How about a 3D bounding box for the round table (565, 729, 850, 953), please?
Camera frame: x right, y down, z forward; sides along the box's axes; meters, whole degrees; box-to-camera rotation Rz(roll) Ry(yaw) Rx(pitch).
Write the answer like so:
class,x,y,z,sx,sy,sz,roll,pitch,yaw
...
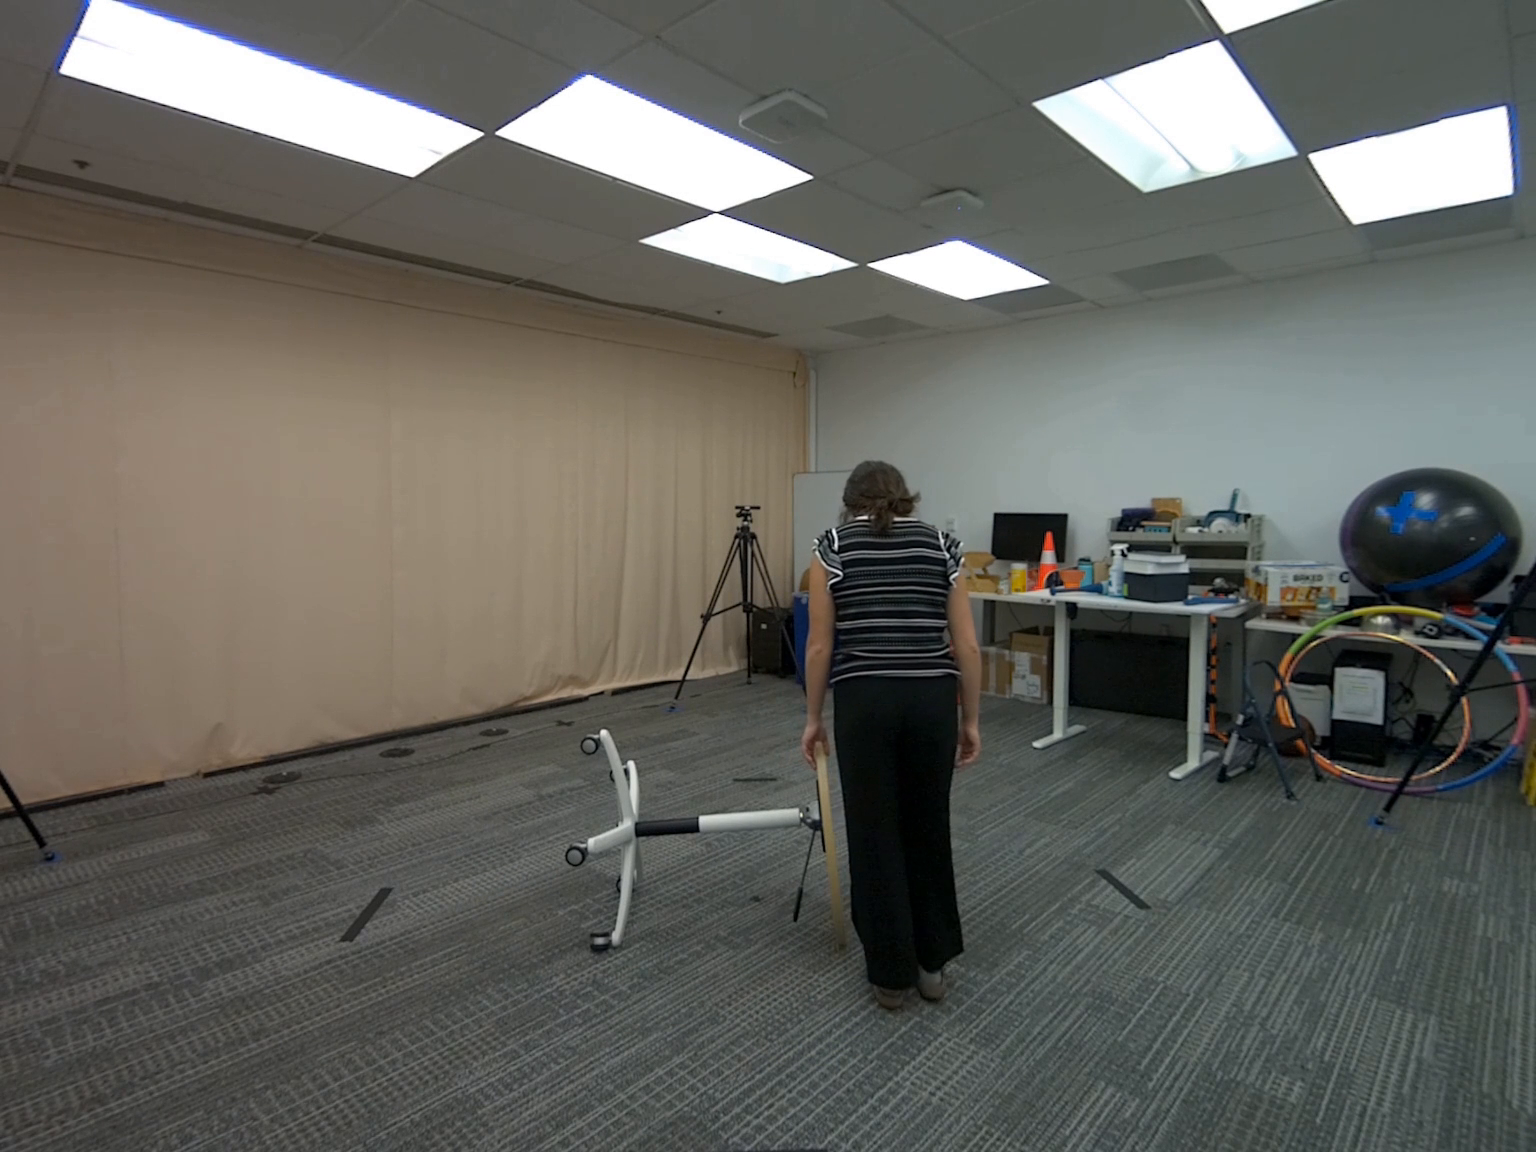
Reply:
class,x,y,z,sx,sy,sz,roll,pitch,yaw
round table,-0.190,0.824,2.790,0.791,0.783,0.782,-6,3,5
